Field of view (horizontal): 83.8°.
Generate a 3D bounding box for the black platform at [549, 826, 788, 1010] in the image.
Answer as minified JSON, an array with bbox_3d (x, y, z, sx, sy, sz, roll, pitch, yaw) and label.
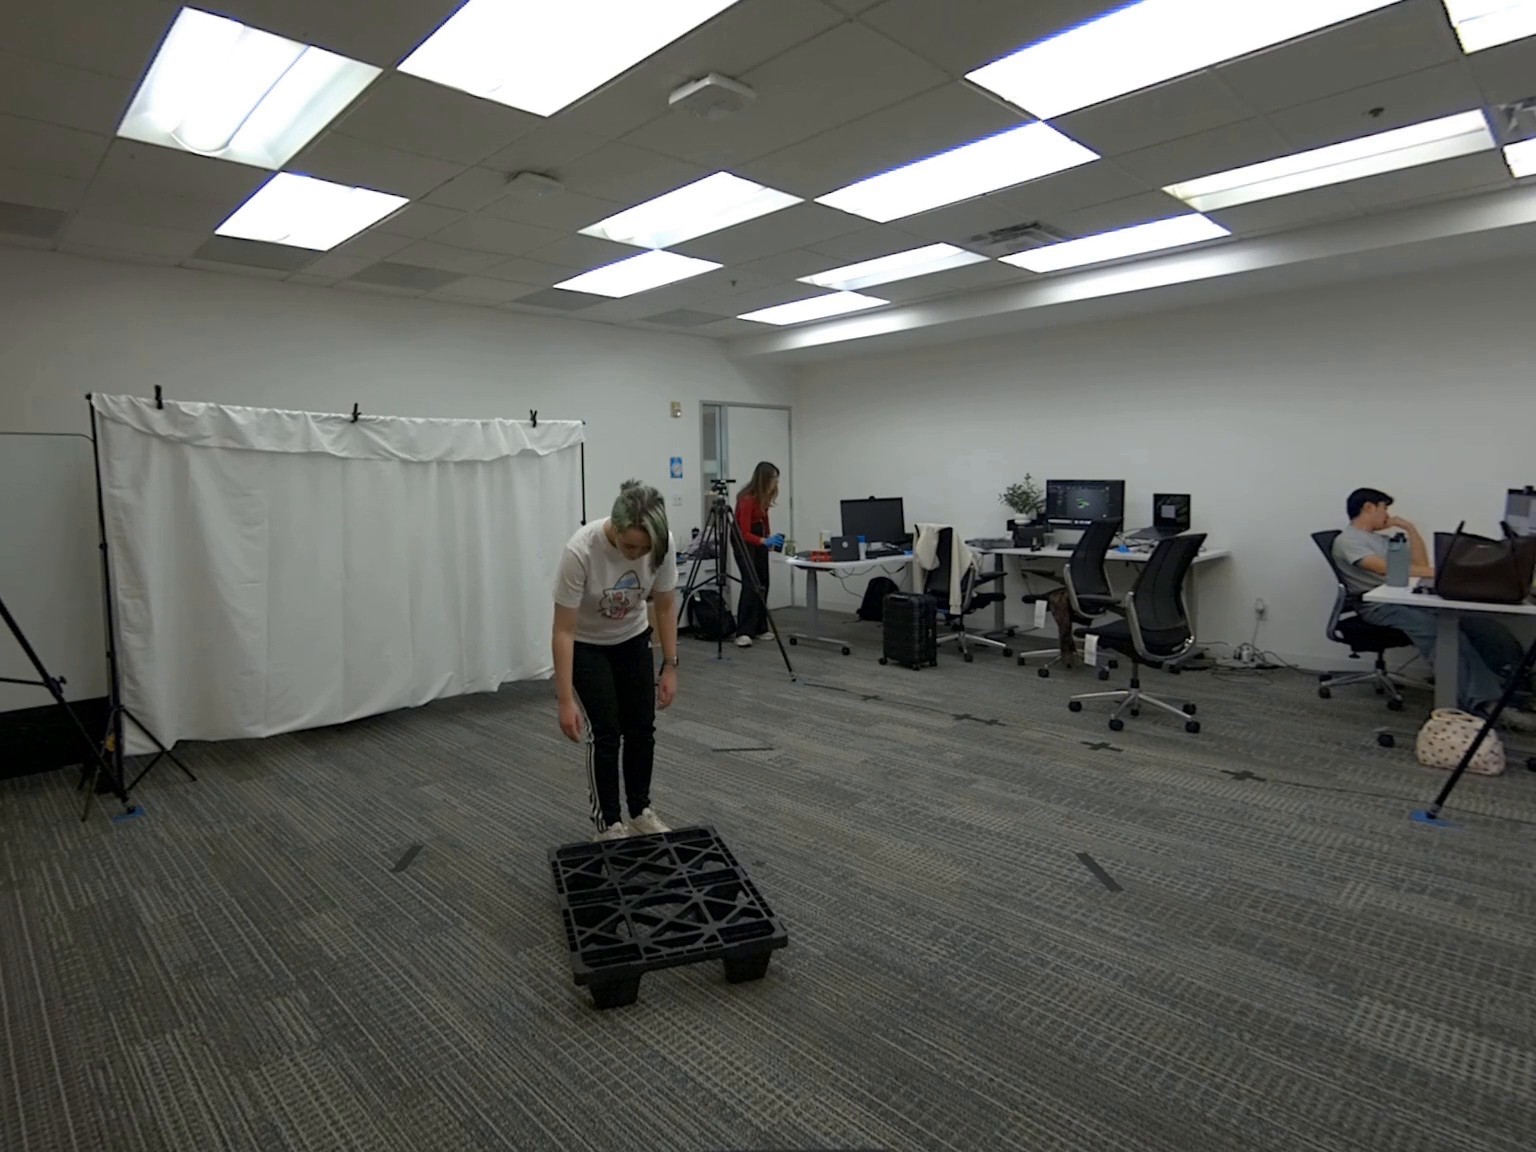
[{"bbox_3d":[-0.350,1.037,2.674,0.596,0.142,0.822,-4,7,-18],"label":"black platform"}]
